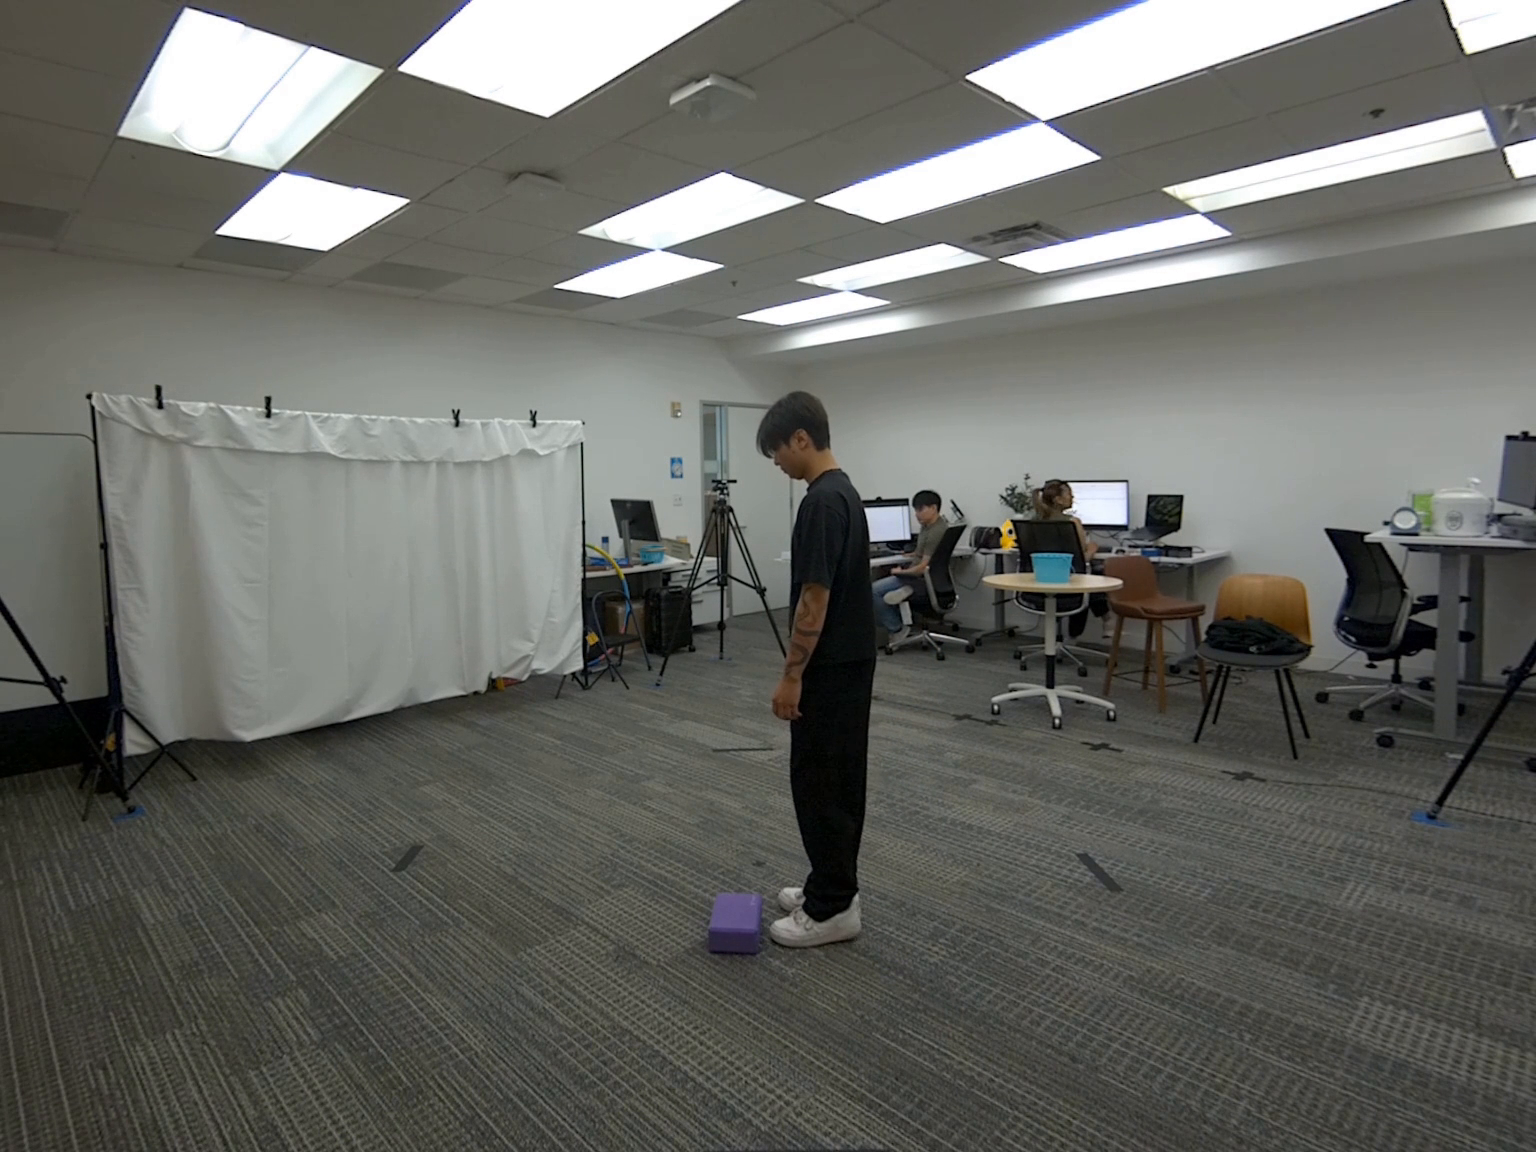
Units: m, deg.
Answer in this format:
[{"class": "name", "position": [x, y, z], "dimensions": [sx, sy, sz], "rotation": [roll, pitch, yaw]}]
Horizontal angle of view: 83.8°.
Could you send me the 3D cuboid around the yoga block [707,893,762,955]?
[{"class": "yoga block", "position": [-0.089, 1.063, 2.623], "dimensions": [0.150, 0.076, 0.229], "rotation": [-1, 4, 4]}]
